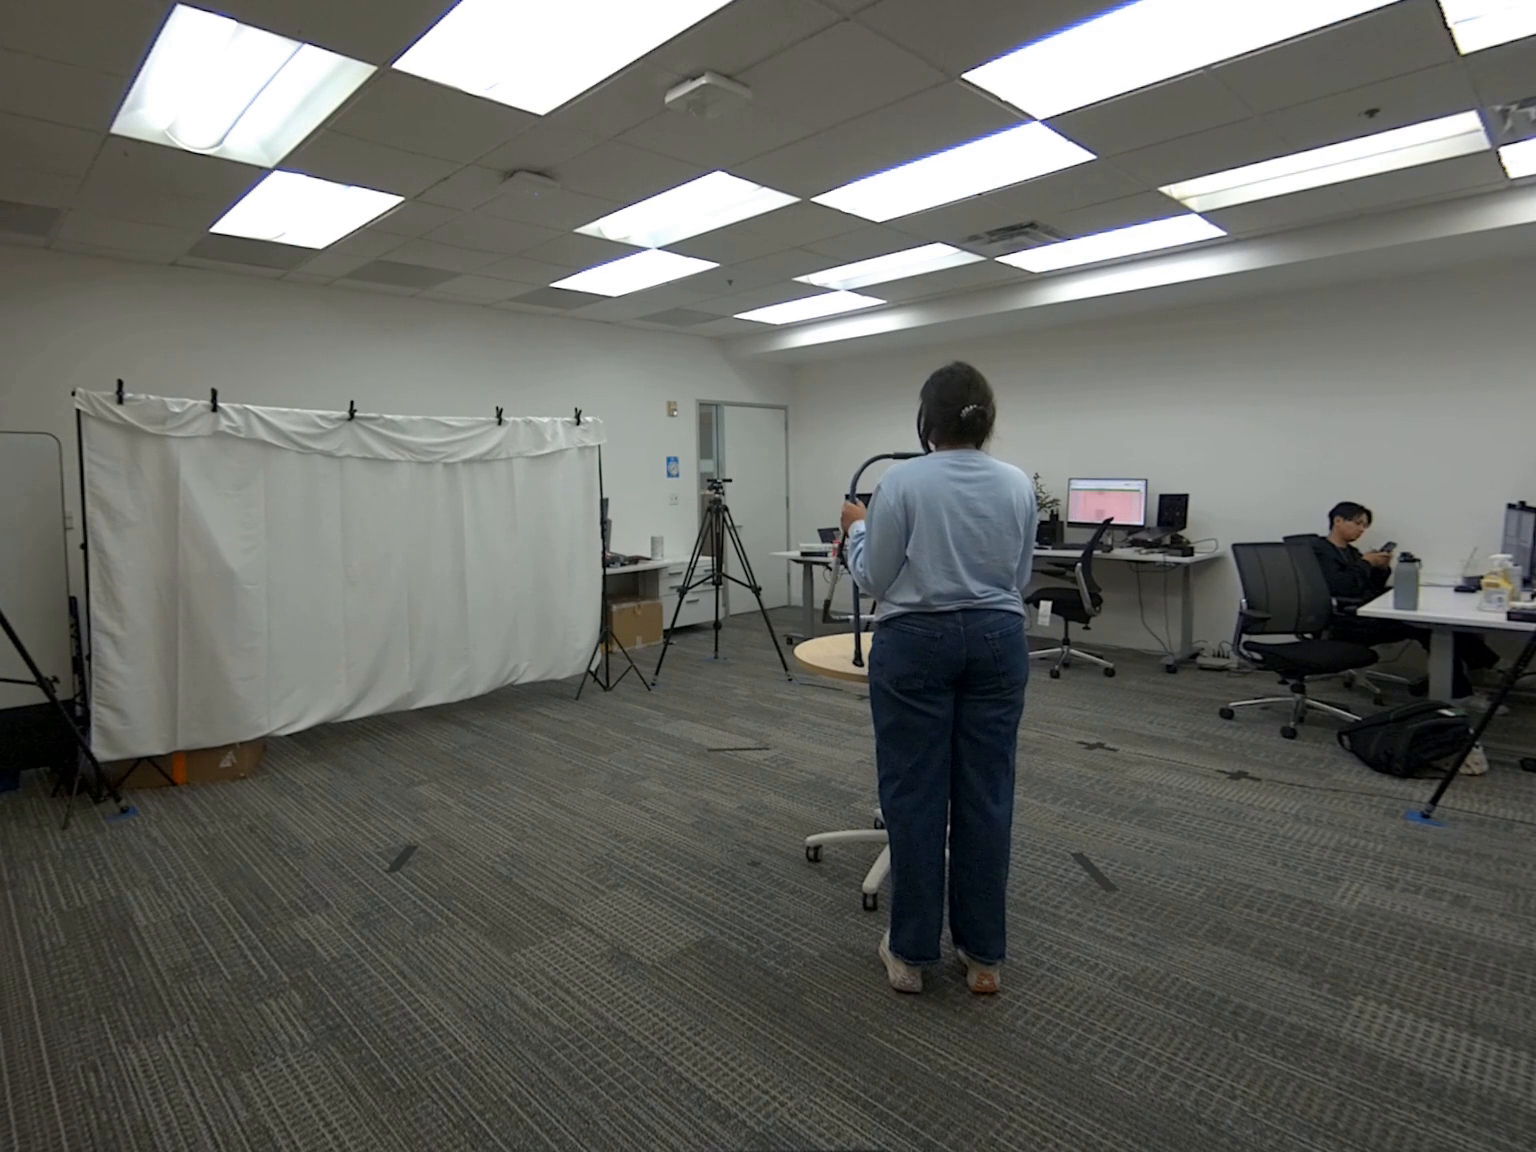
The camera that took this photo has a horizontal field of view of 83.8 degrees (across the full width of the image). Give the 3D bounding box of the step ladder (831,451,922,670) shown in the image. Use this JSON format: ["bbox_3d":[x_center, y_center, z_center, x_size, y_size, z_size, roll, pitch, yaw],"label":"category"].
[{"bbox_3d":[0.454,-0.074,2.694,0.425,0.598,0.358,-1,16,-14],"label":"step ladder"}]
